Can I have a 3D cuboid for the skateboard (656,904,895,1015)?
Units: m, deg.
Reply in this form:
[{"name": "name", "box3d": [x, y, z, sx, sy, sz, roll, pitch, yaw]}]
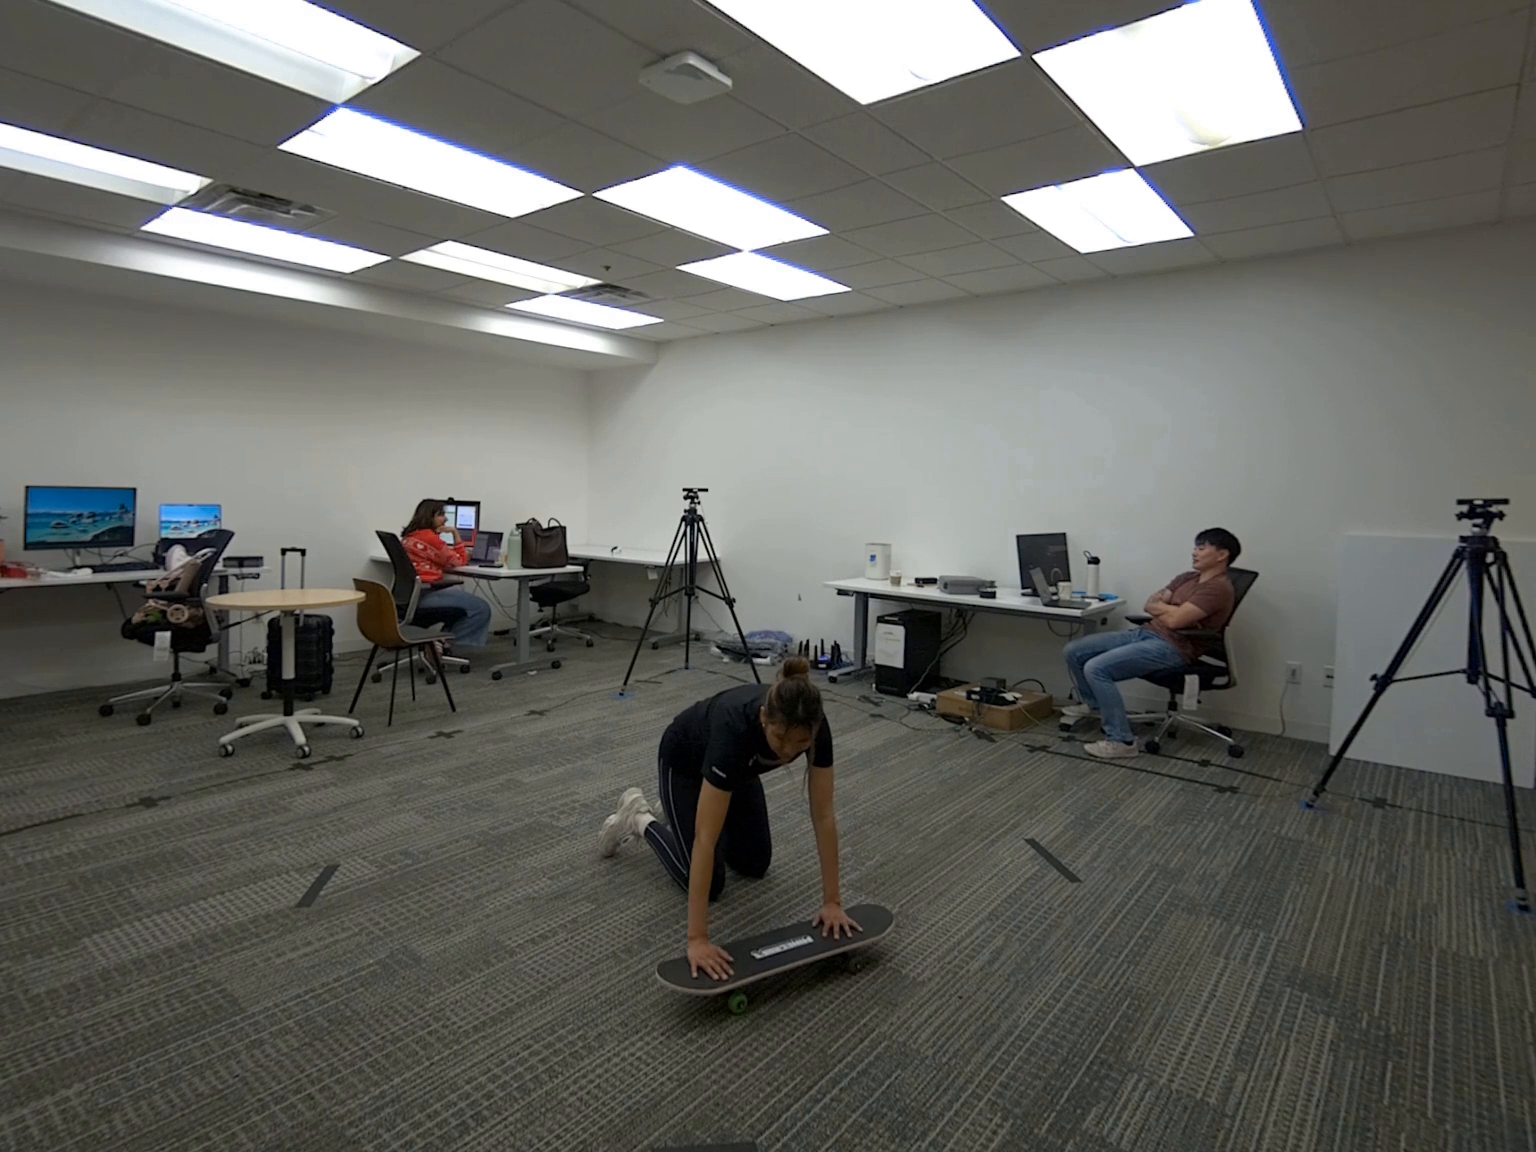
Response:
[{"name": "skateboard", "box3d": [0.034, 1.080, 2.431, 0.764, 0.110, 0.199, -2, 4, -31]}]
